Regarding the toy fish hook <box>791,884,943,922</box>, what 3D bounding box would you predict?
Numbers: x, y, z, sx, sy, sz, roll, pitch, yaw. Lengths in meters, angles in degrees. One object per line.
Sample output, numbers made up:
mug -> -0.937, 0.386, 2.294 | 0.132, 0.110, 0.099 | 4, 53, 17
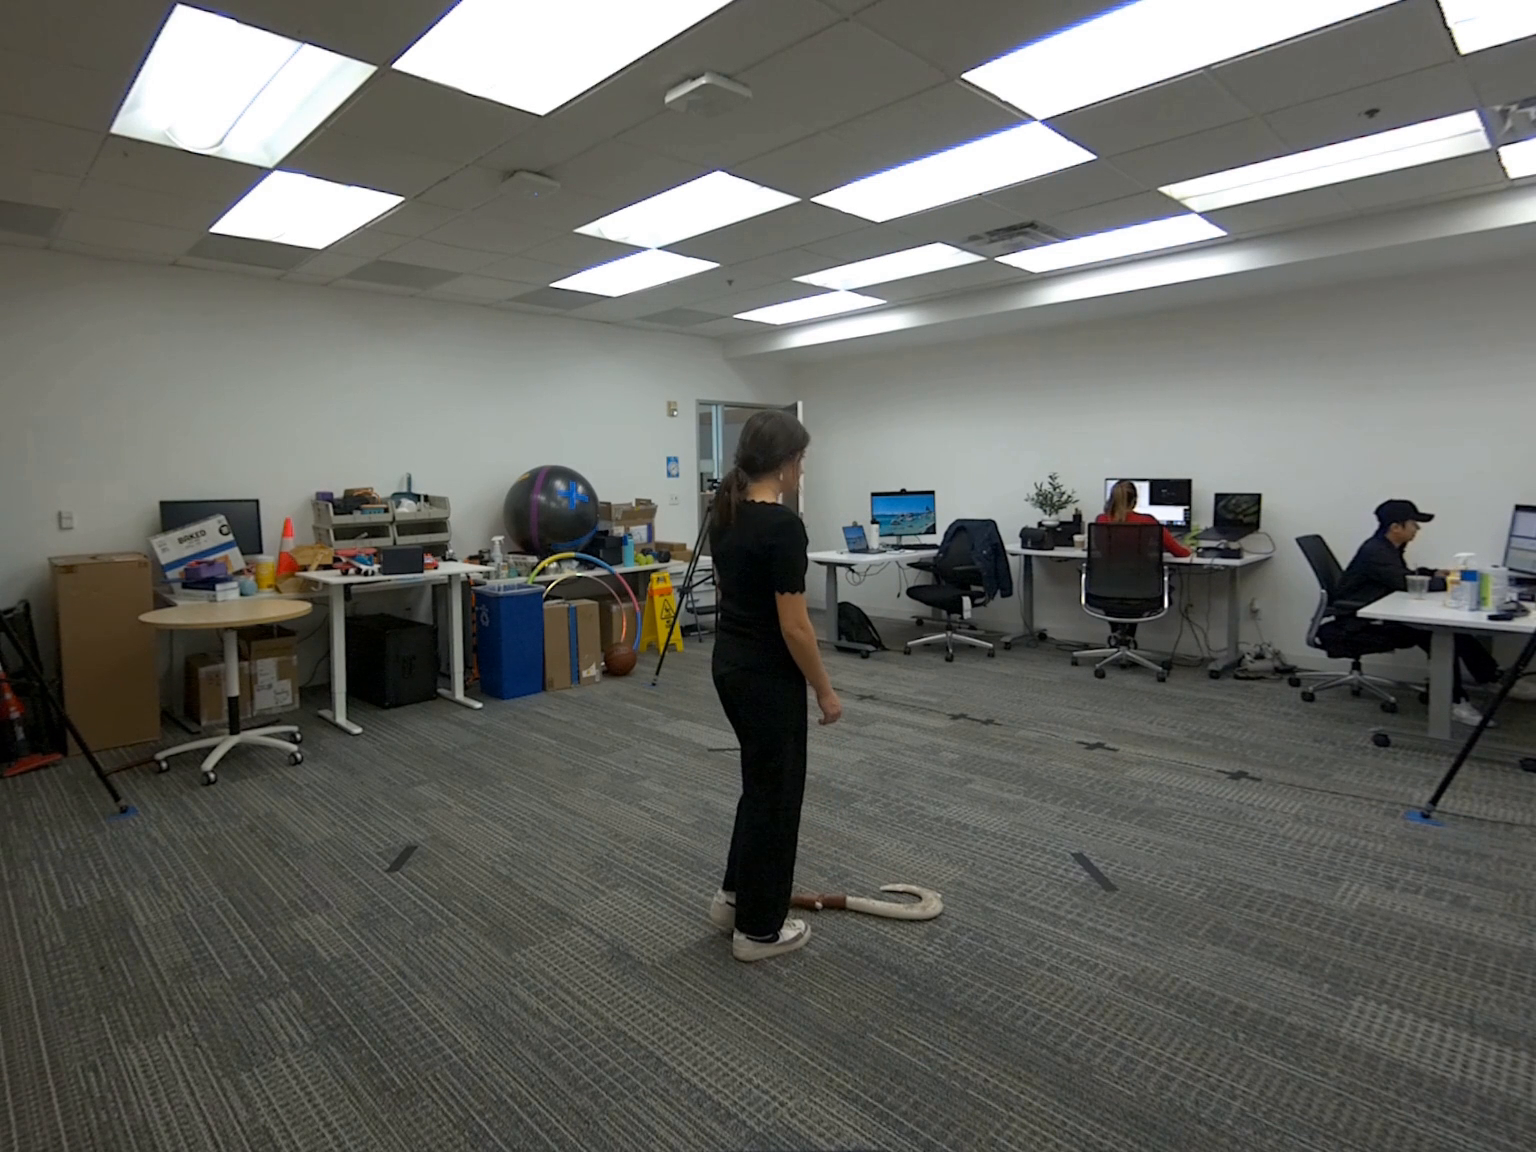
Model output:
toy fish hook -> 0.310, 1.056, 2.802 | 0.511, 0.048, 0.222 | 1, -1, 8
